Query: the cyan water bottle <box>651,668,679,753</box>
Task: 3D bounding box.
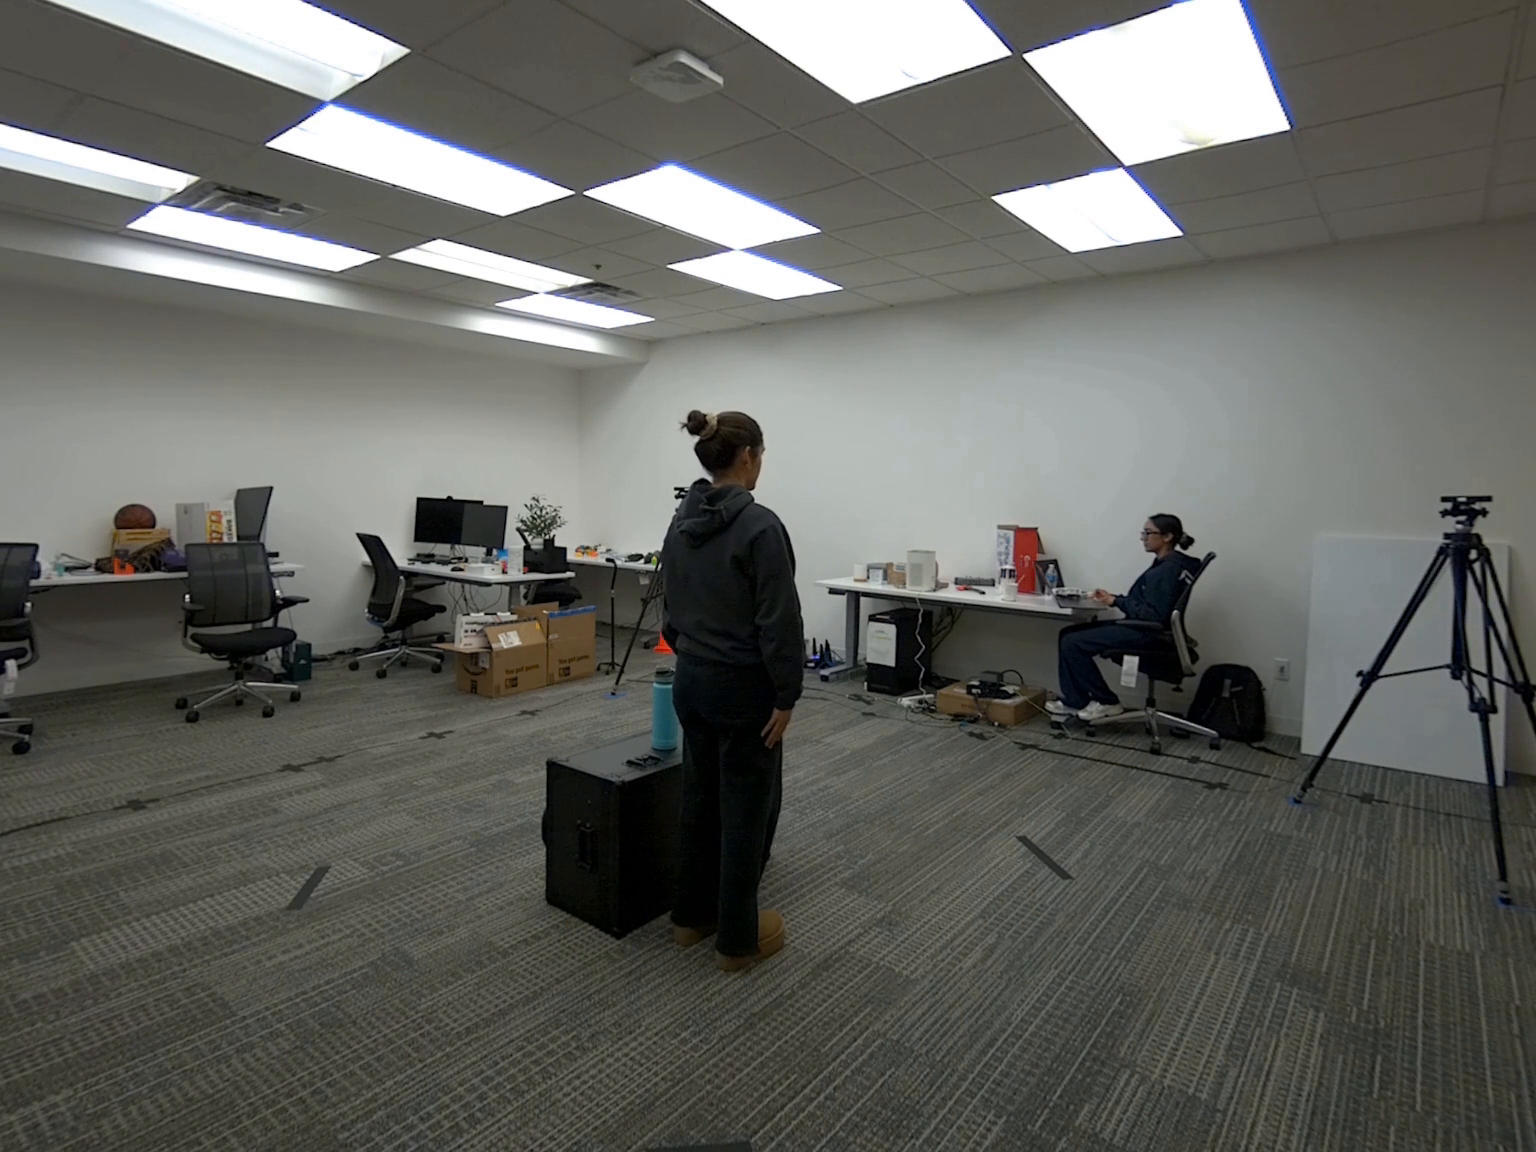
[{"bbox_3d":[-0.364,0.454,2.982,0.092,0.283,0.092,1,2,-2],"label":"cyan water bottle"}]
